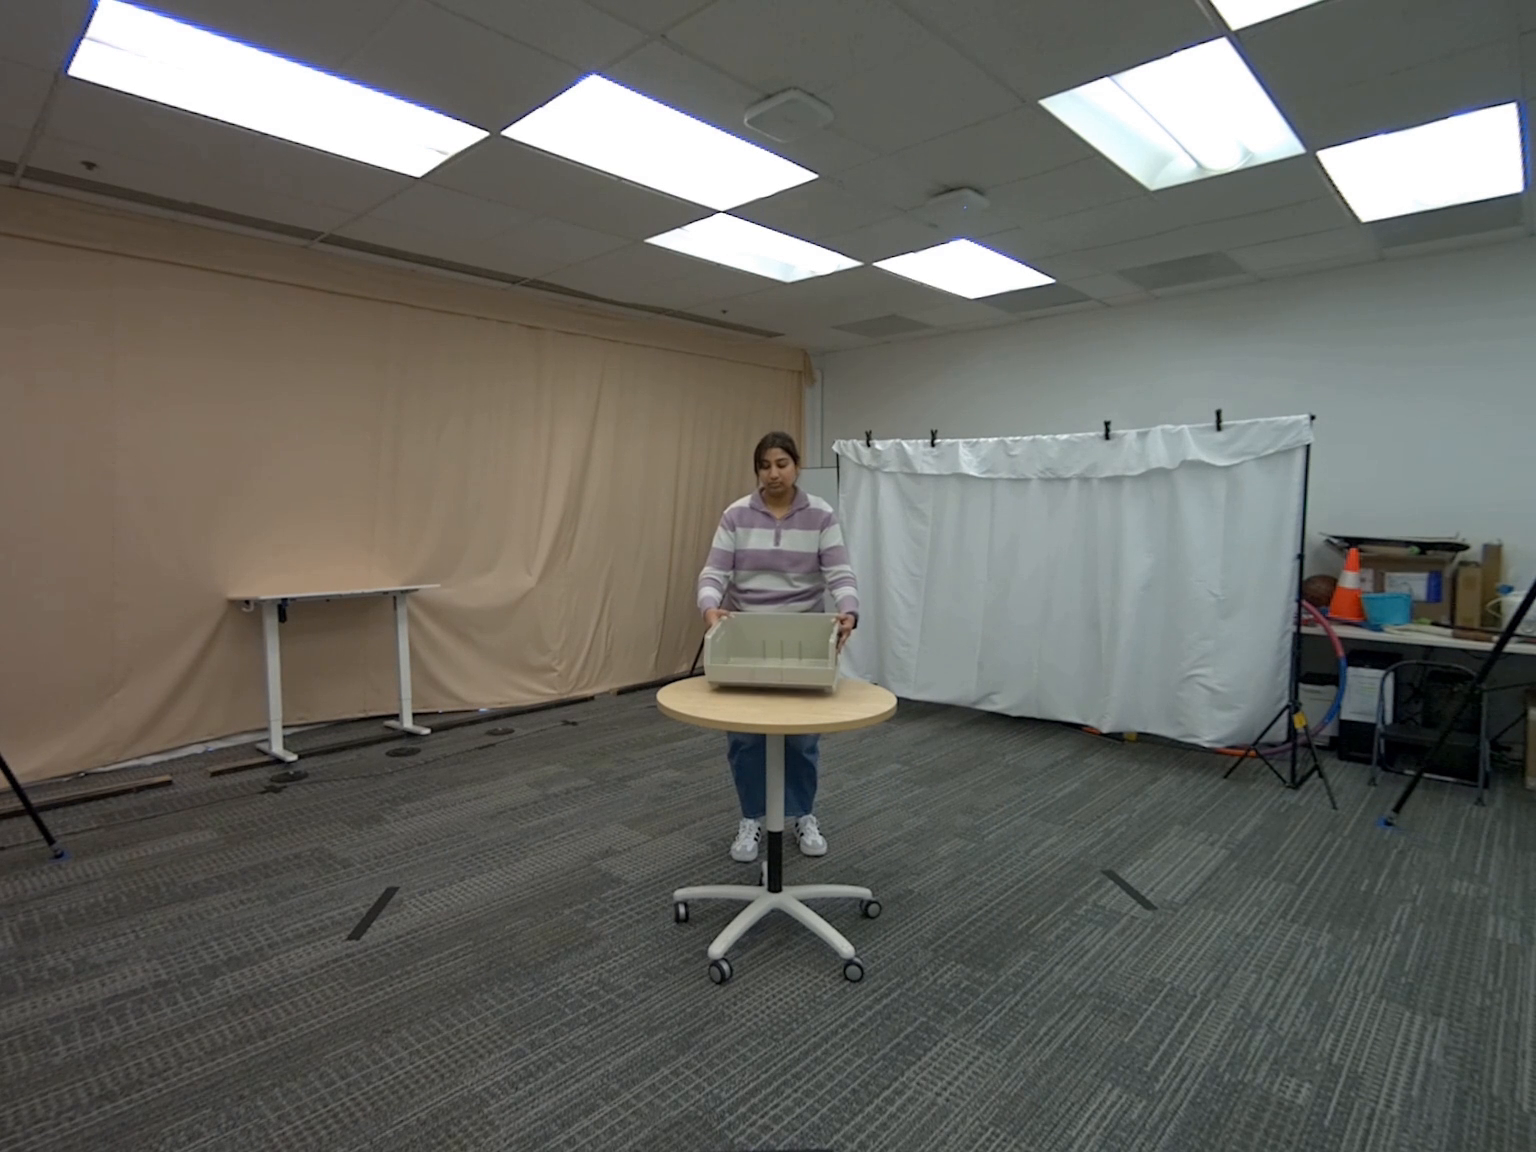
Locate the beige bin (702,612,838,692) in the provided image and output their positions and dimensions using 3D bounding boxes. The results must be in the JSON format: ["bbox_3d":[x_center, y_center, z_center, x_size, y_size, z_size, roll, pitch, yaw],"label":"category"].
[{"bbox_3d":[0.029,0.255,2.837,0.427,0.188,0.375,0,9,10],"label":"beige bin"}]
